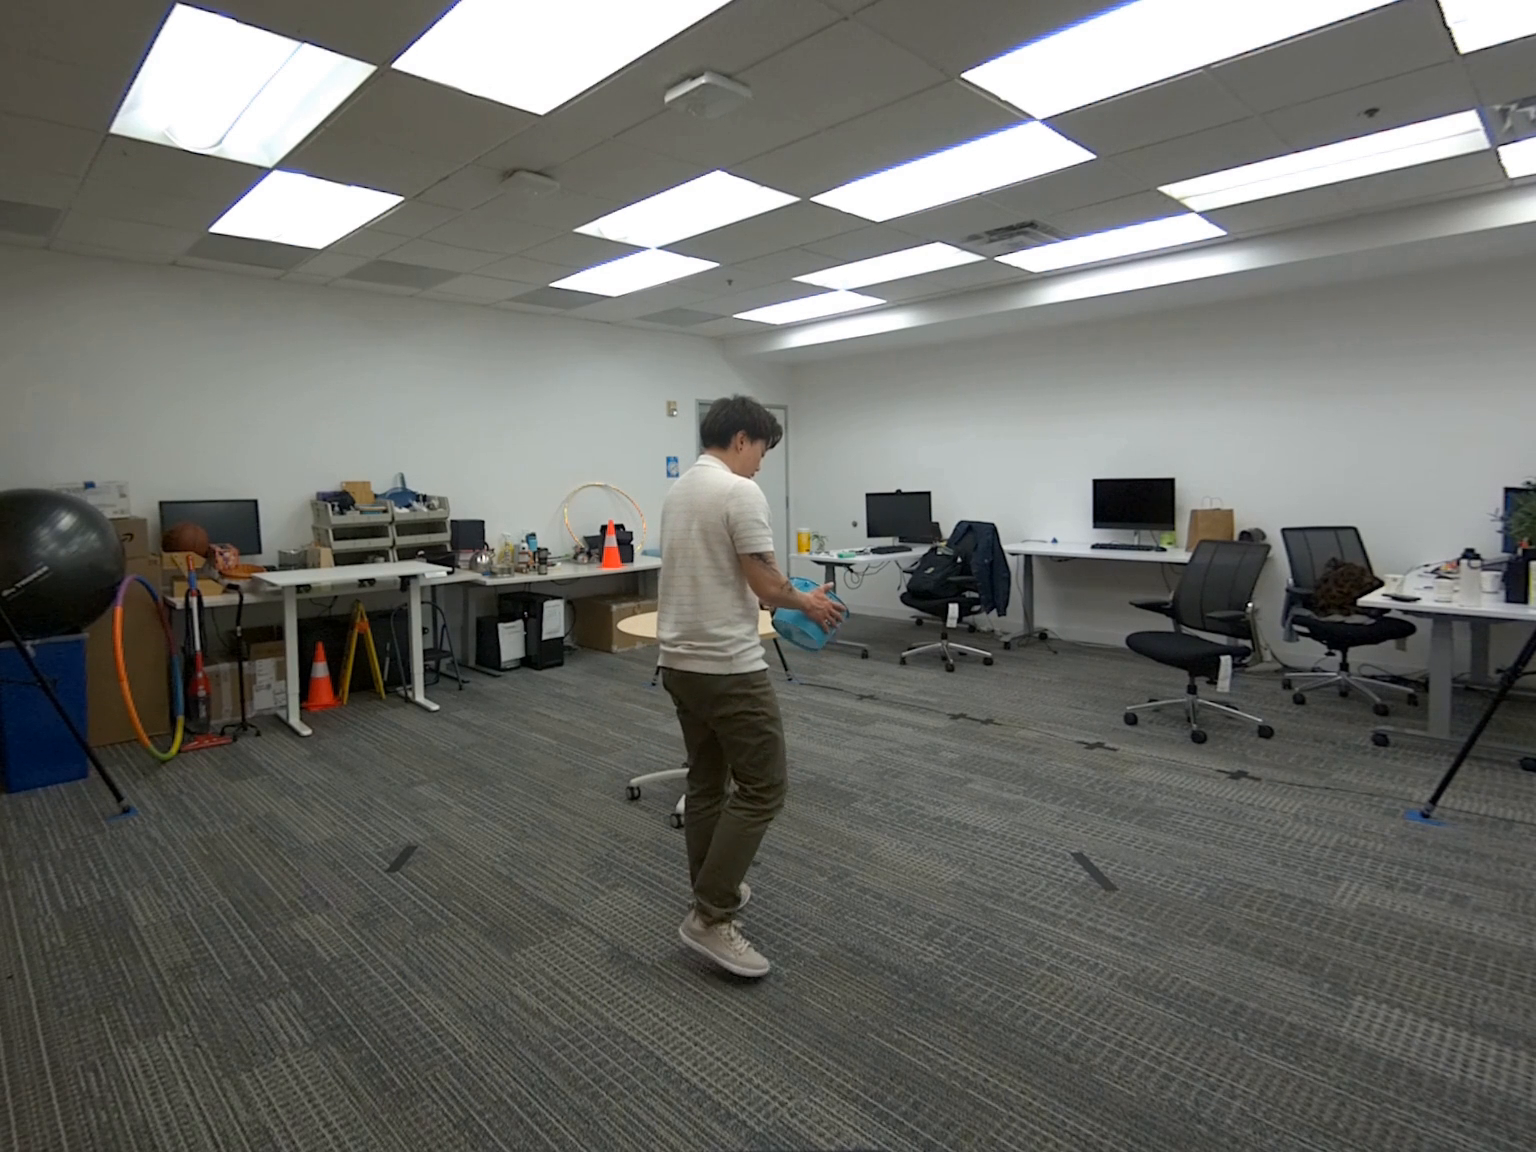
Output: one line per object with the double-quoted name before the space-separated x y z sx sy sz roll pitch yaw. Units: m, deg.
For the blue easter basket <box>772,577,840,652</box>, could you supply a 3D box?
"blue easter basket" 0.121 0.133 2.793 0.247 0.156 0.239 30 -20 10
